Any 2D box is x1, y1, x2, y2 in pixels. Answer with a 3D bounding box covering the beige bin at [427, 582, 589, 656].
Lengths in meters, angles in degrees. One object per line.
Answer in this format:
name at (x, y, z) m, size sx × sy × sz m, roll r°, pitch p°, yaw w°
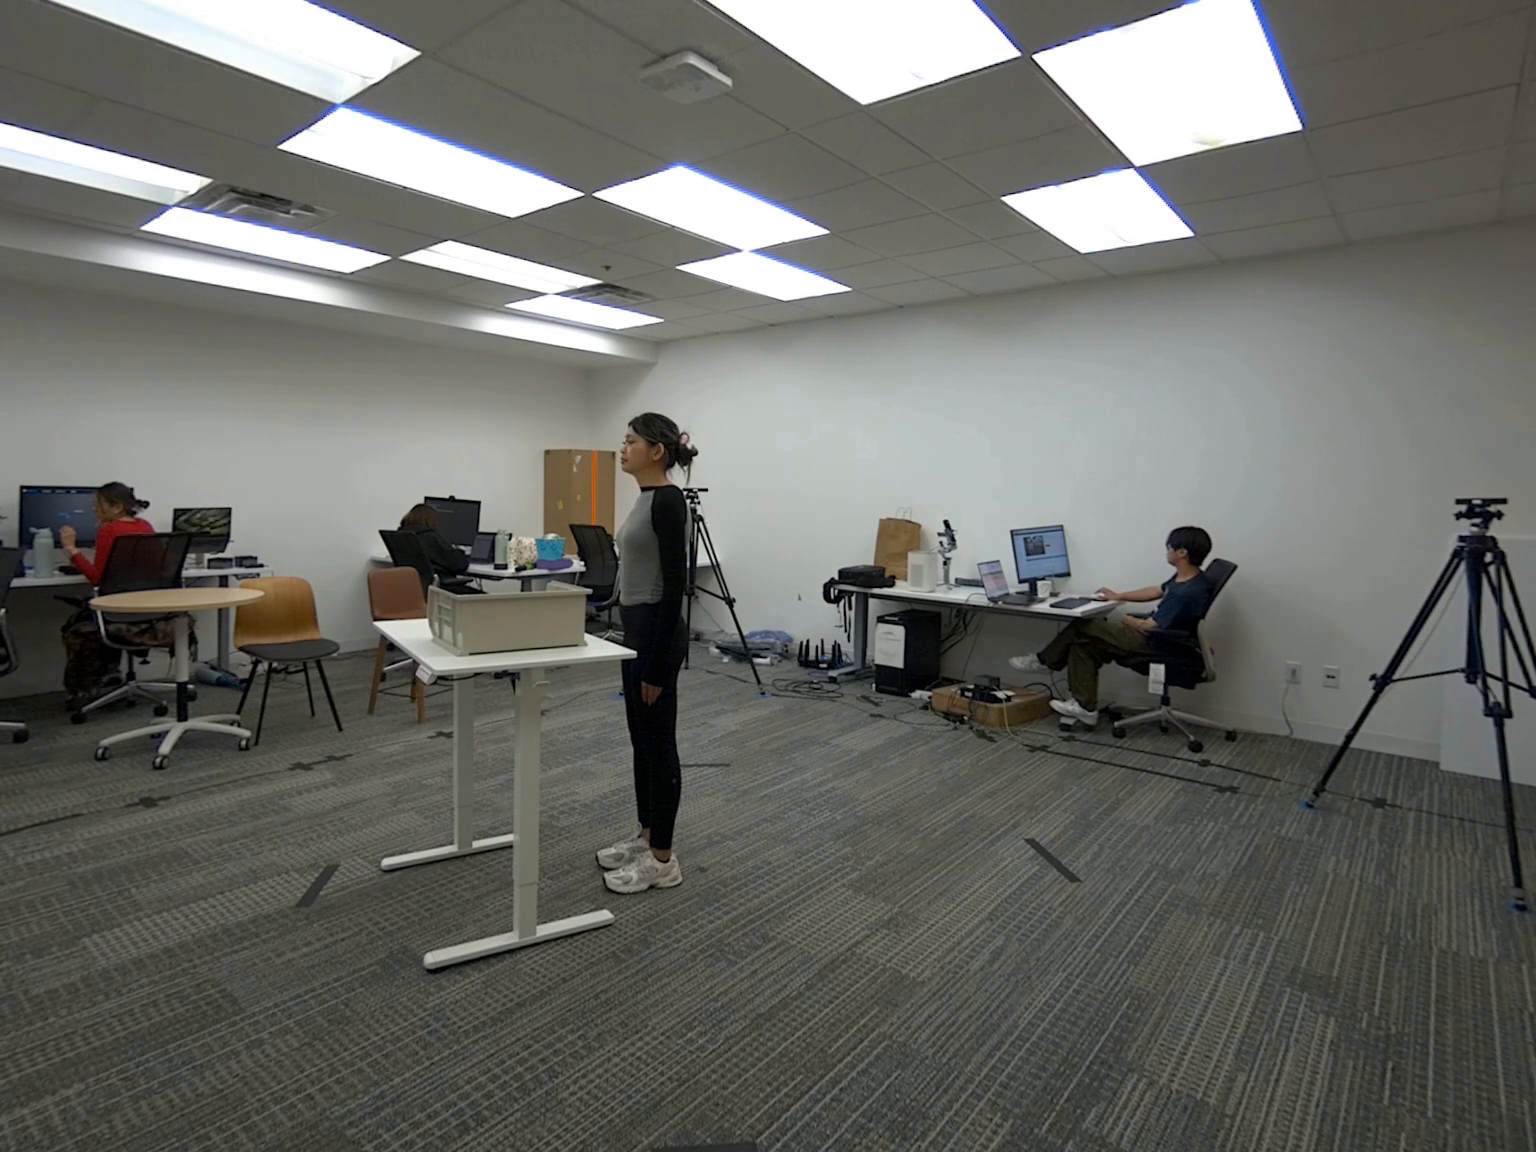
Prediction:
beige bin at (-0.851, 0.128, 2.727) m, size 0.410 × 0.188 × 0.390 m, roll -2°, pitch 6°, yaw -34°
